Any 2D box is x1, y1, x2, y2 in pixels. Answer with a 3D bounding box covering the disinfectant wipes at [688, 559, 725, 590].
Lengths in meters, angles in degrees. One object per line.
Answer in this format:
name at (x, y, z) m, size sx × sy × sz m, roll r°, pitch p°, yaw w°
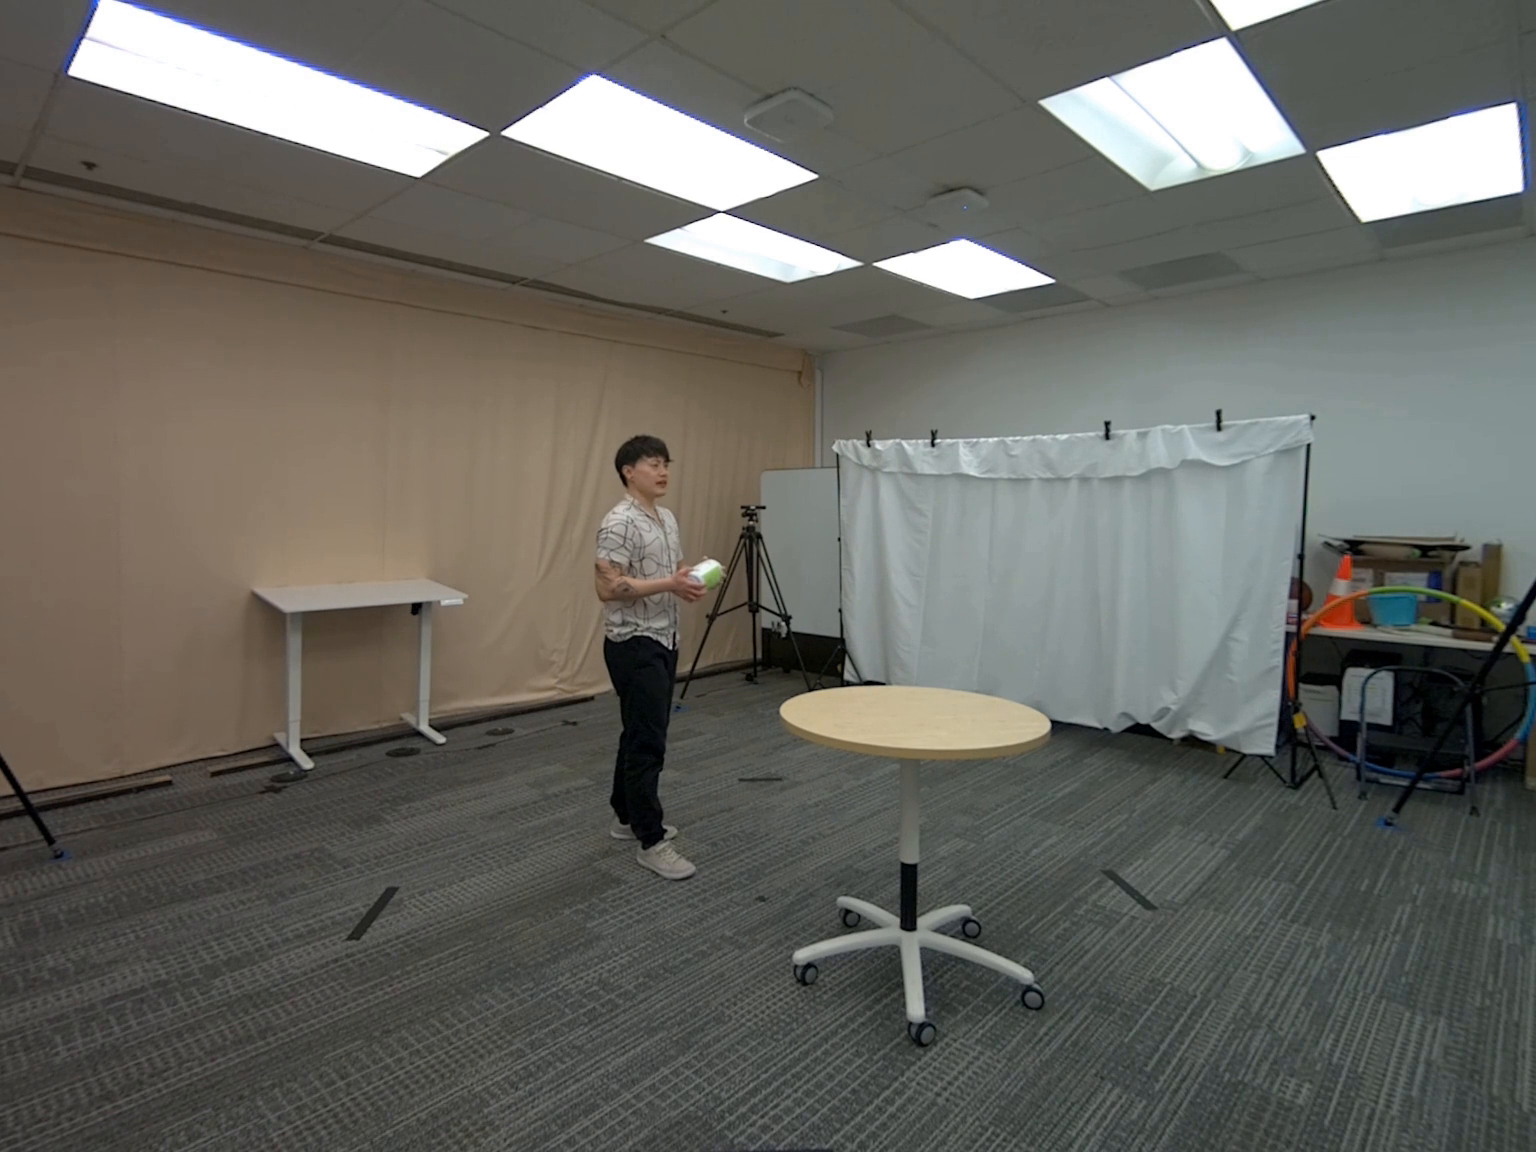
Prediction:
disinfectant wipes at (-0.263, 0.014, 3.307) m, size 0.120 × 0.117 × 0.214 m, roll 1°, pitch 14°, yaw 20°
